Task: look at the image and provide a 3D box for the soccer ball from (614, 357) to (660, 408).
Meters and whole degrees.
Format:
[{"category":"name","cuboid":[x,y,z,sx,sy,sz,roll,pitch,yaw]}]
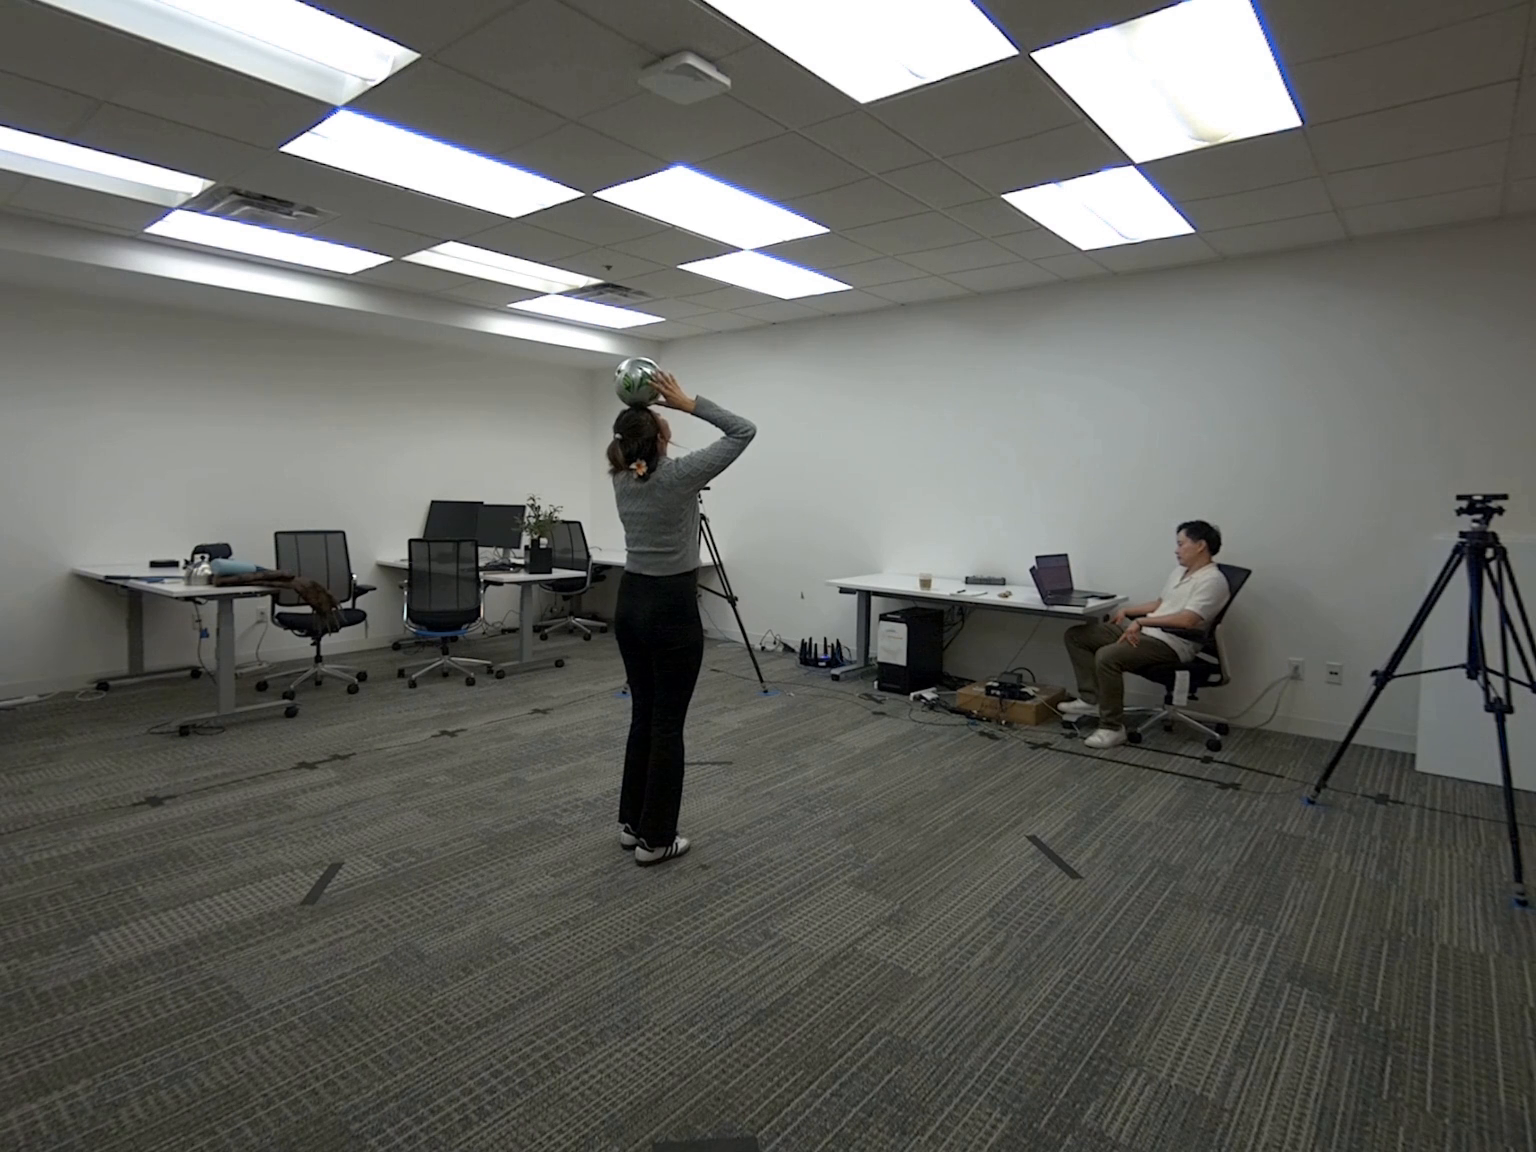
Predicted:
[{"category":"soccer ball","cuboid":[-0.487,-0.715,3.140,0.187,0.187,0.188,1,4,-2]}]
